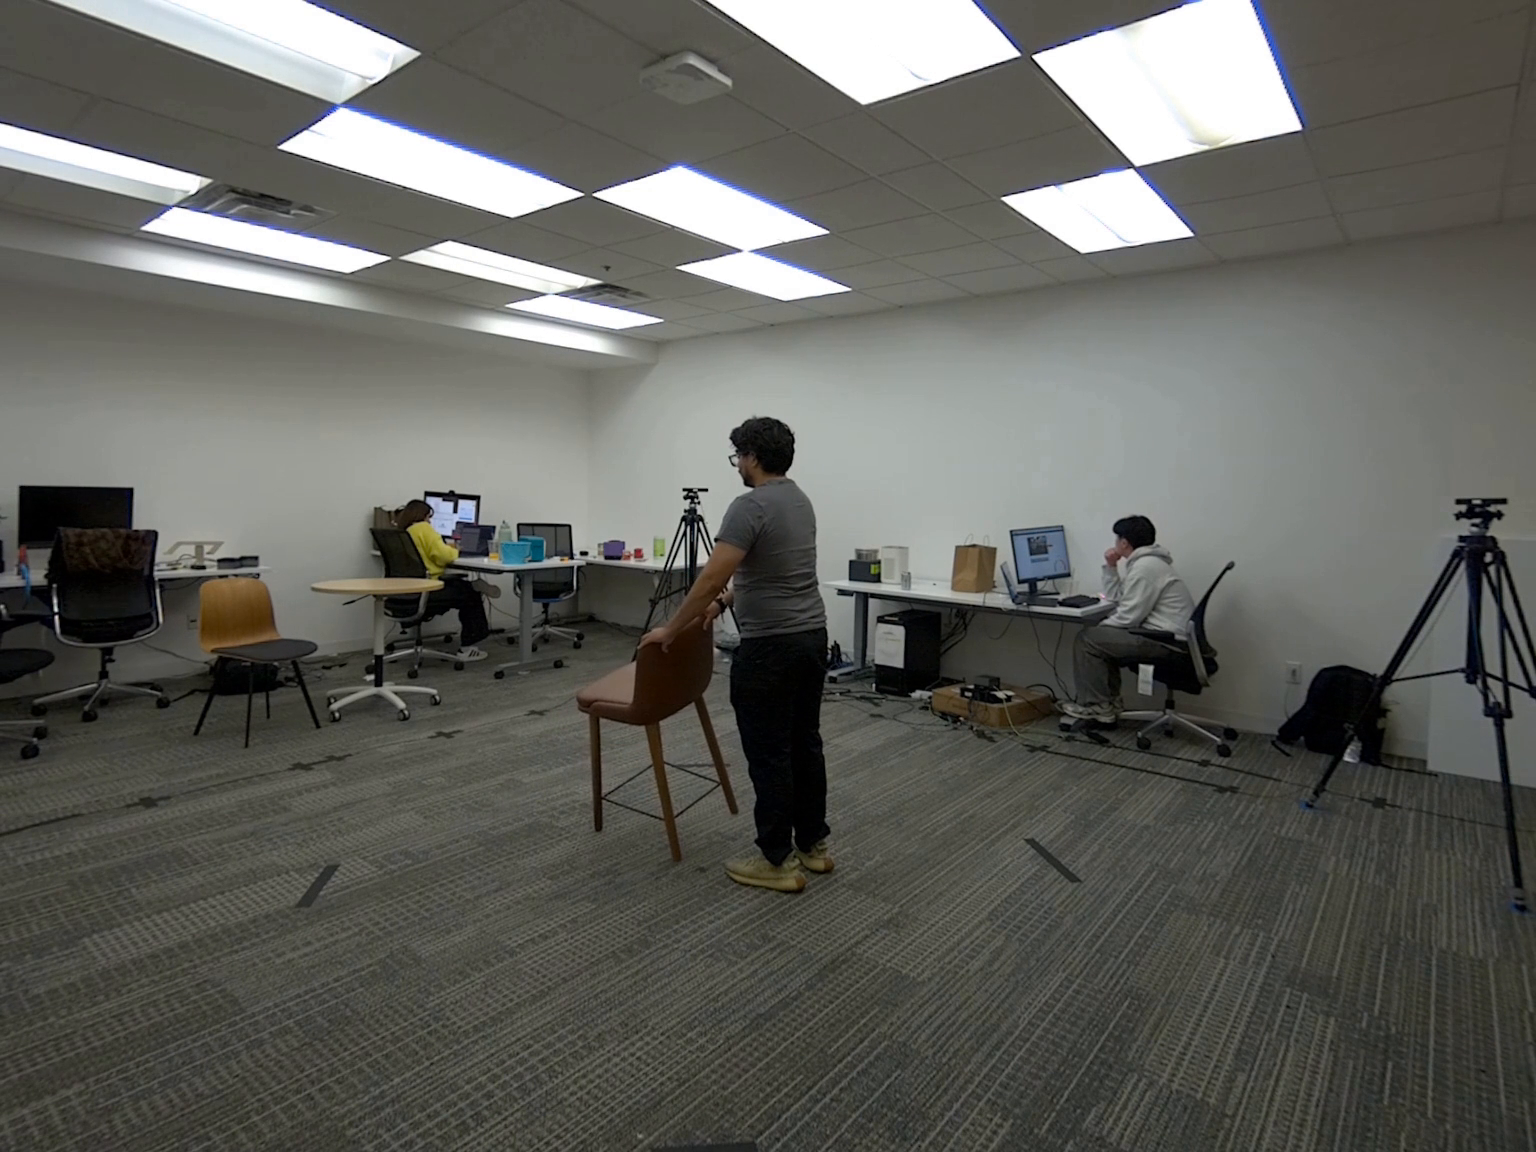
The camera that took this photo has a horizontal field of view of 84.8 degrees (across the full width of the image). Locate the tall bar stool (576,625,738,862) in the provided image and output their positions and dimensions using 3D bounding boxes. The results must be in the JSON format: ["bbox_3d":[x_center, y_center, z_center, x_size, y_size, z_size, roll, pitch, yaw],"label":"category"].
[{"bbox_3d":[-0.458,0.577,3.348,0.484,0.877,0.447,7,18,39],"label":"tall bar stool"}]
